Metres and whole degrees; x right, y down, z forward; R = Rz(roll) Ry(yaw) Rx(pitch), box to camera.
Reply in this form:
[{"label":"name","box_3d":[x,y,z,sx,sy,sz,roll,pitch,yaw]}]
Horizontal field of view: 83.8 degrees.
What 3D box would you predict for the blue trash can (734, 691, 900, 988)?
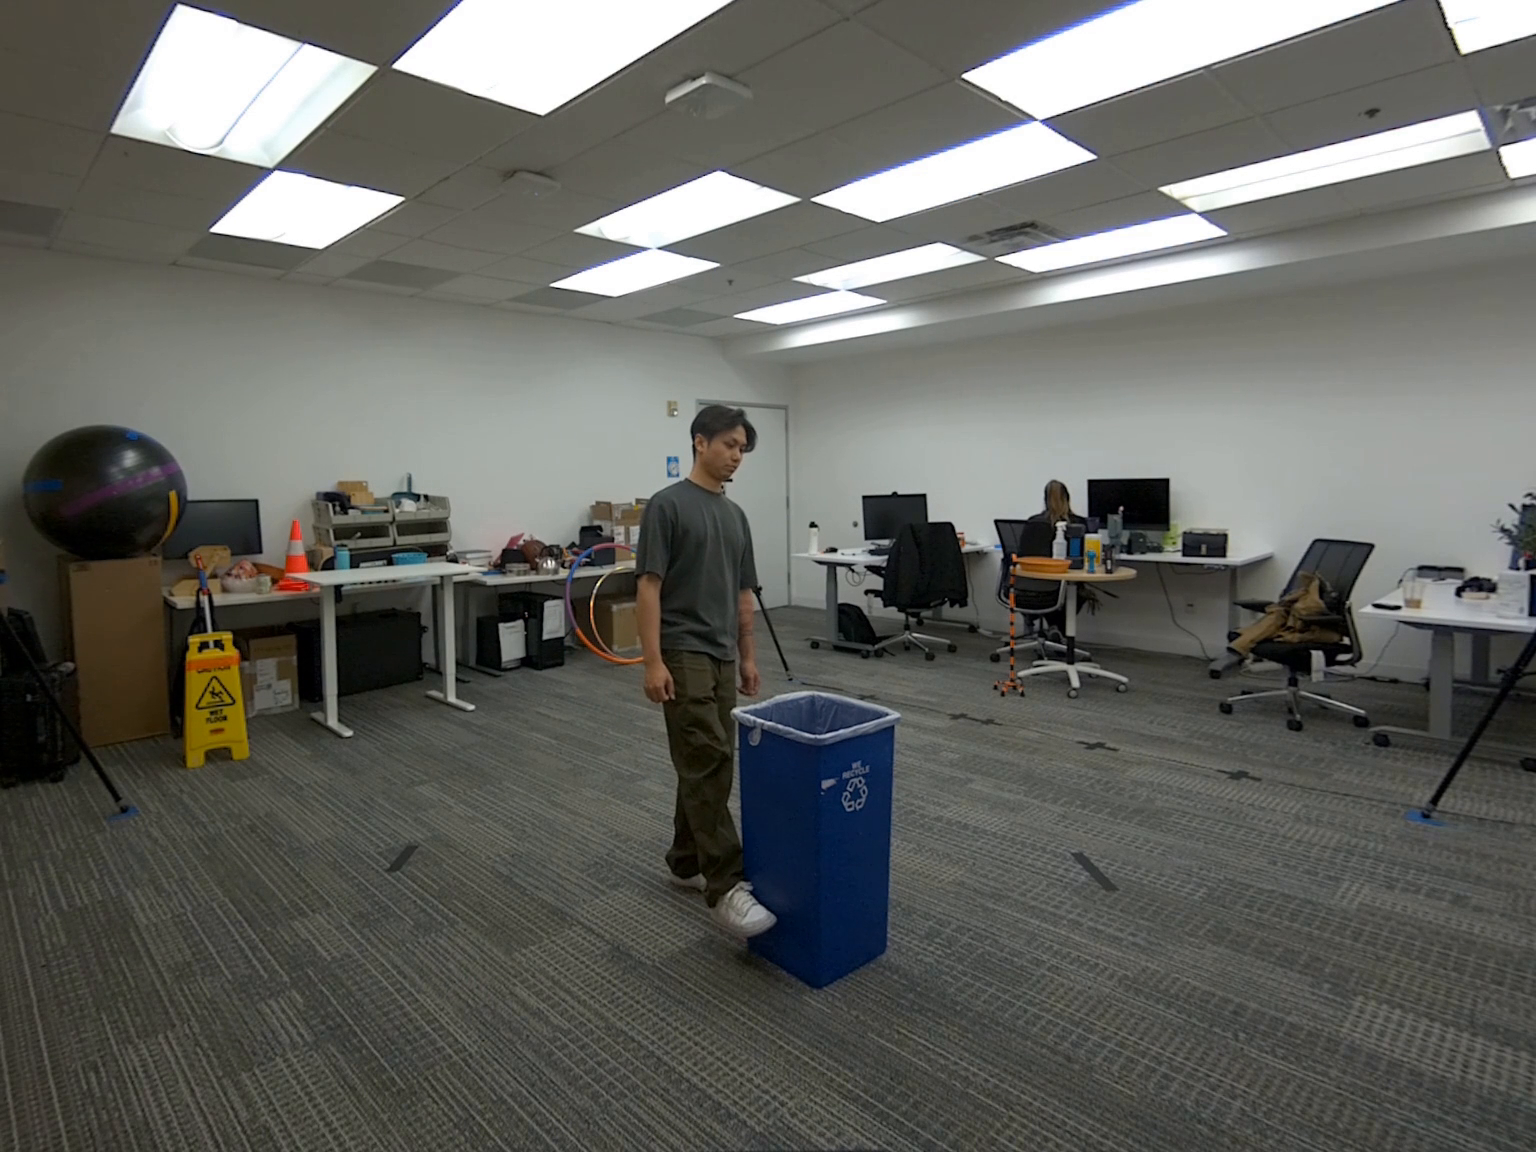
[{"label":"blue trash can","box_3d":[0.141,0.751,2.517,0.368,0.711,0.386,-4,6,-43]}]
